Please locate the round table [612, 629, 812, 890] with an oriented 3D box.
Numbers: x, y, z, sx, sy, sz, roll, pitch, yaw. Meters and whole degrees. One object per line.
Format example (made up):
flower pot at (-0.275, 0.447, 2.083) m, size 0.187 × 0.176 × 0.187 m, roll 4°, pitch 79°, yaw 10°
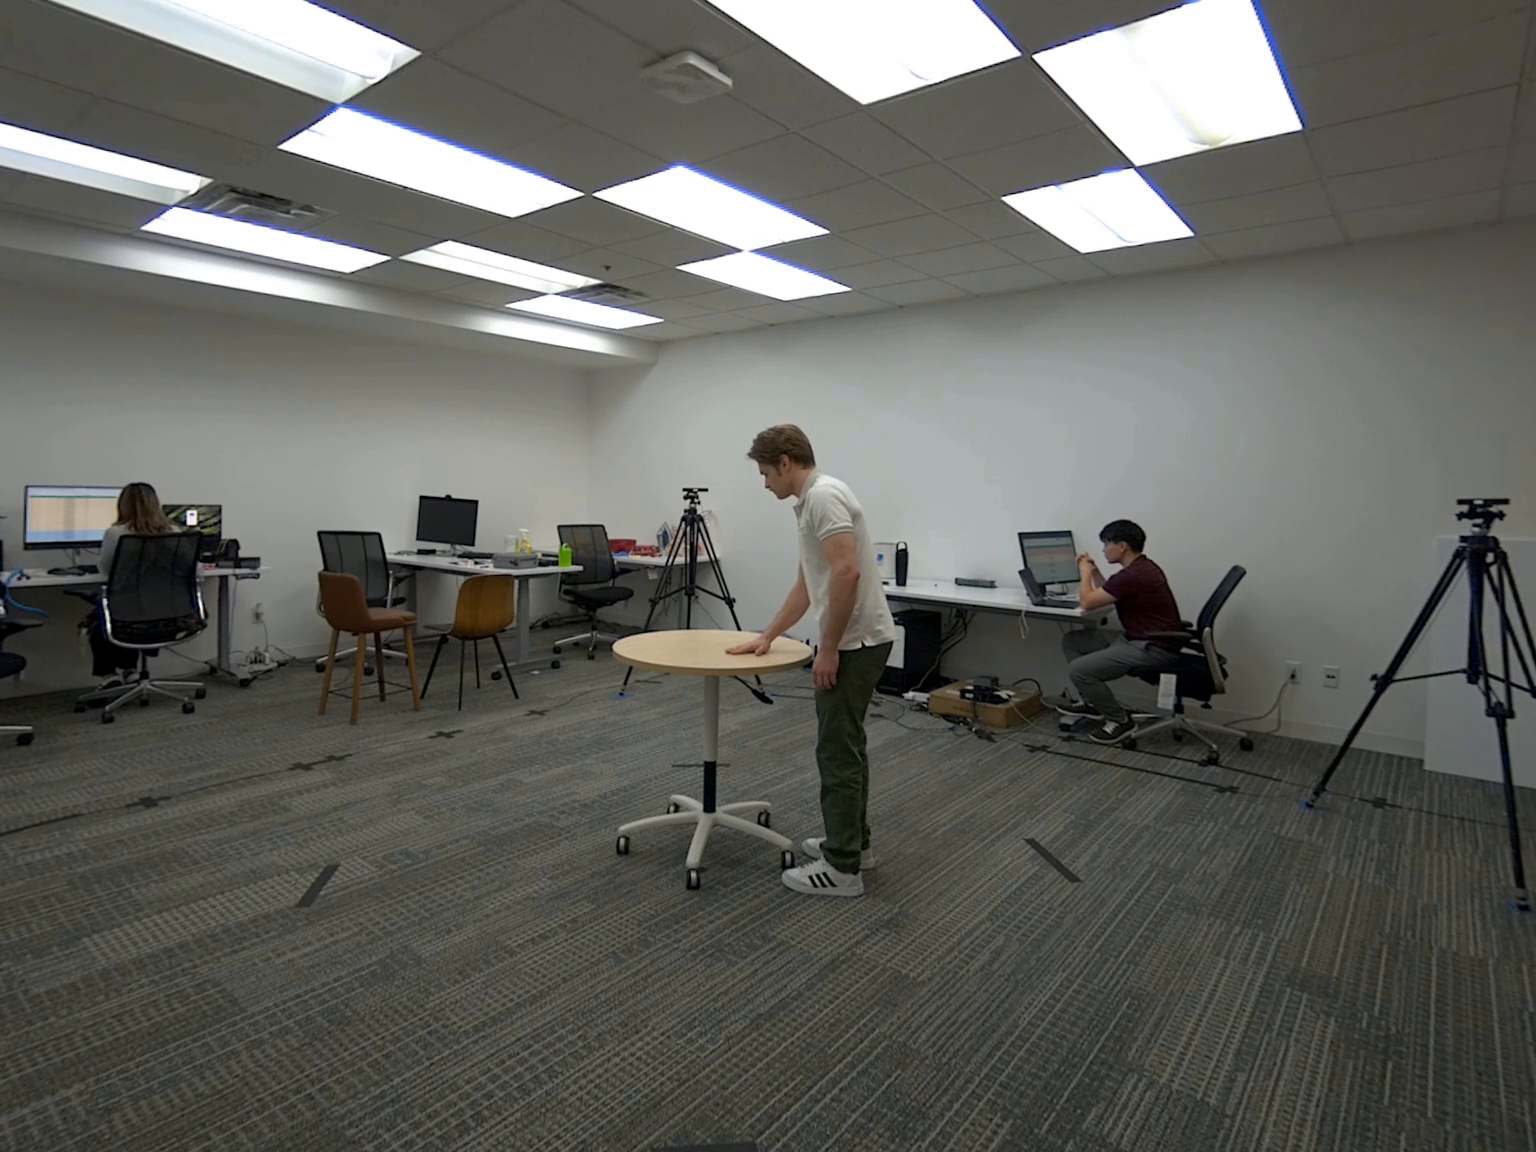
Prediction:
round table at (-0.240, 0.656, 3.304) m, size 0.784 × 0.784 × 0.789 m, roll 2°, pitch 4°, yaw -2°
